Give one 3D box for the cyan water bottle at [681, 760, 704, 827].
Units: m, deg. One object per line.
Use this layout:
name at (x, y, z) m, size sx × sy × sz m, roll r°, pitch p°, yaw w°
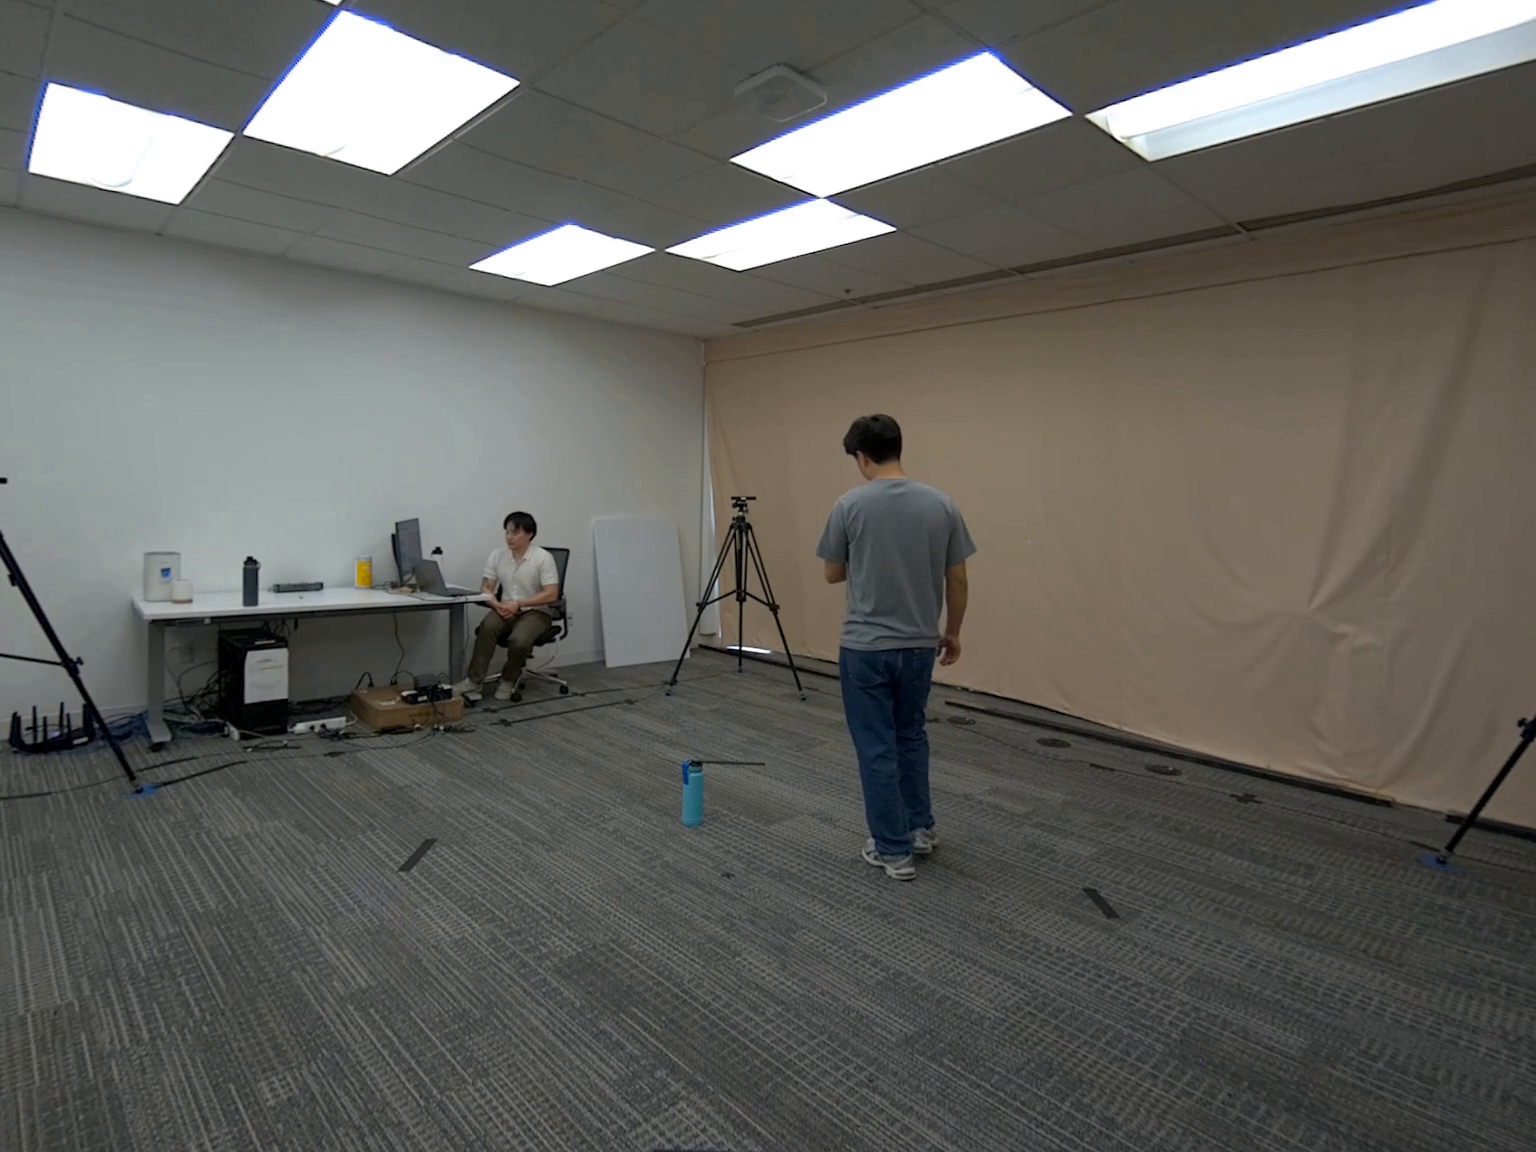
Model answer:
cyan water bottle at (-0.327, 0.913, 3.602) m, size 0.092 × 0.283 × 0.092 m, roll 1°, pitch 3°, yaw -1°
